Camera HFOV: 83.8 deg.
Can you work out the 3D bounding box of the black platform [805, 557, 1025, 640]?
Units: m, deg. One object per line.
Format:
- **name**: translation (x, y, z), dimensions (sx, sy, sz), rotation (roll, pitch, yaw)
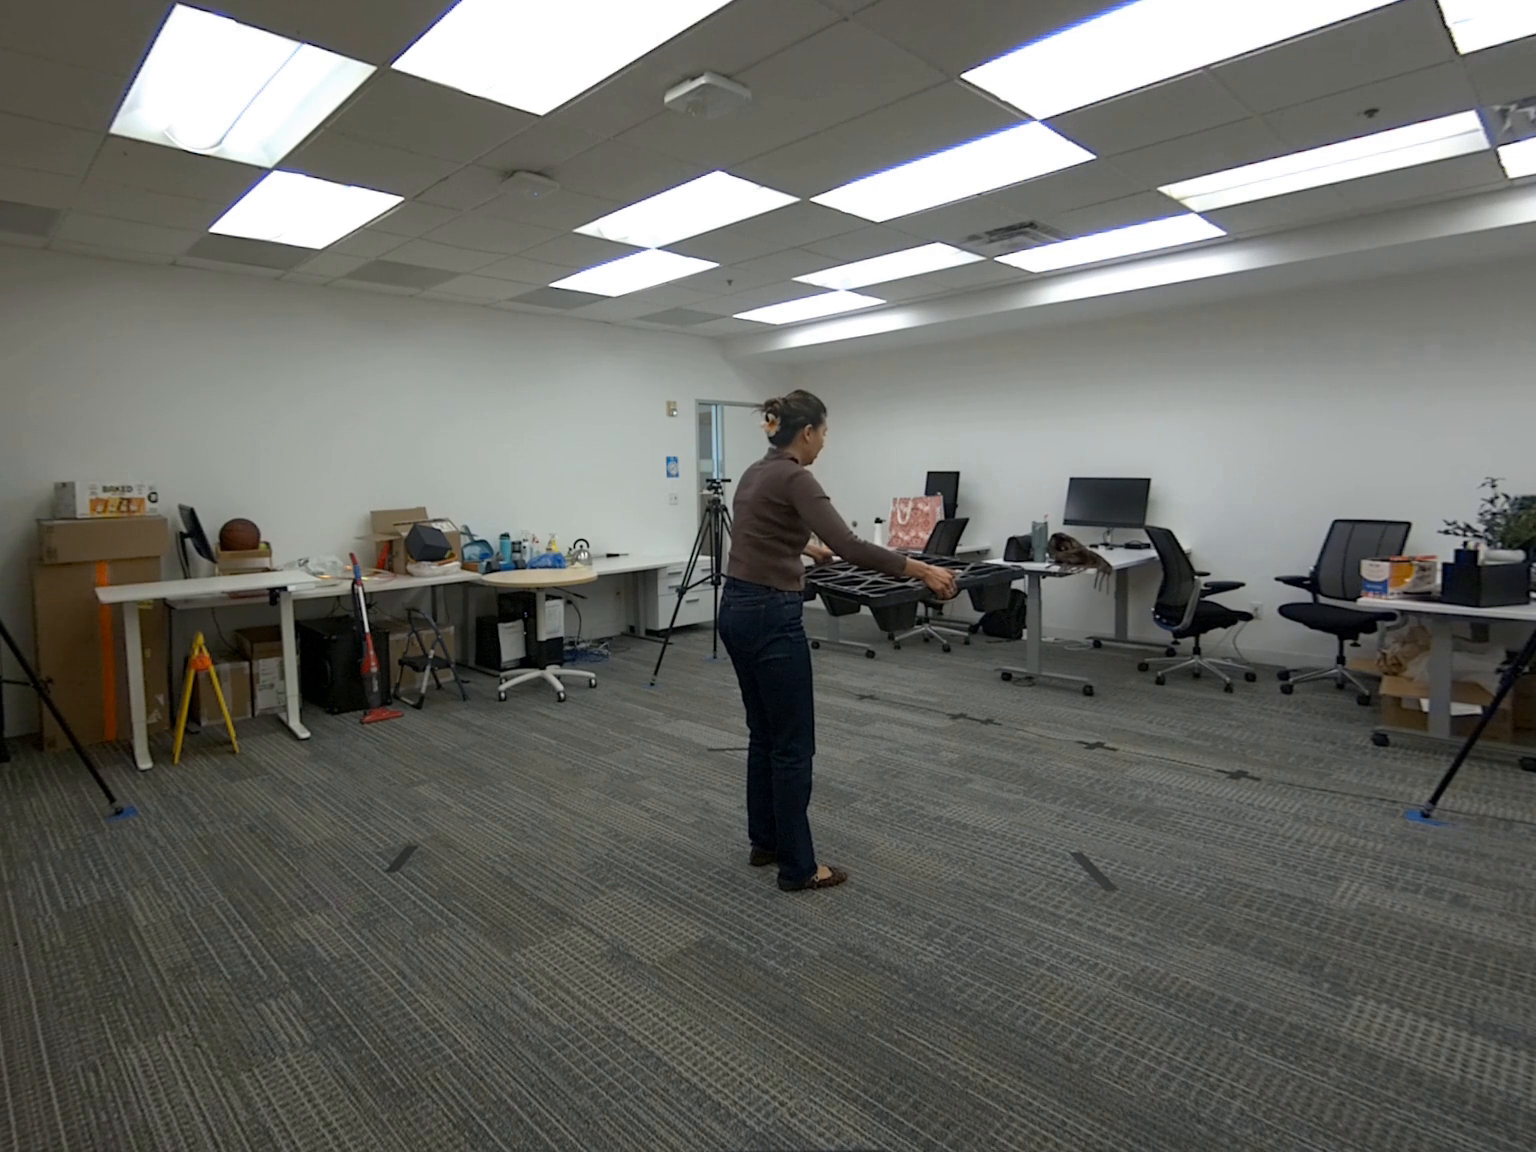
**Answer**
- **black platform**: translation (0.441, 0.043, 3.120), dimensions (0.595, 0.142, 0.825), rotation (-10, 9, -22)
